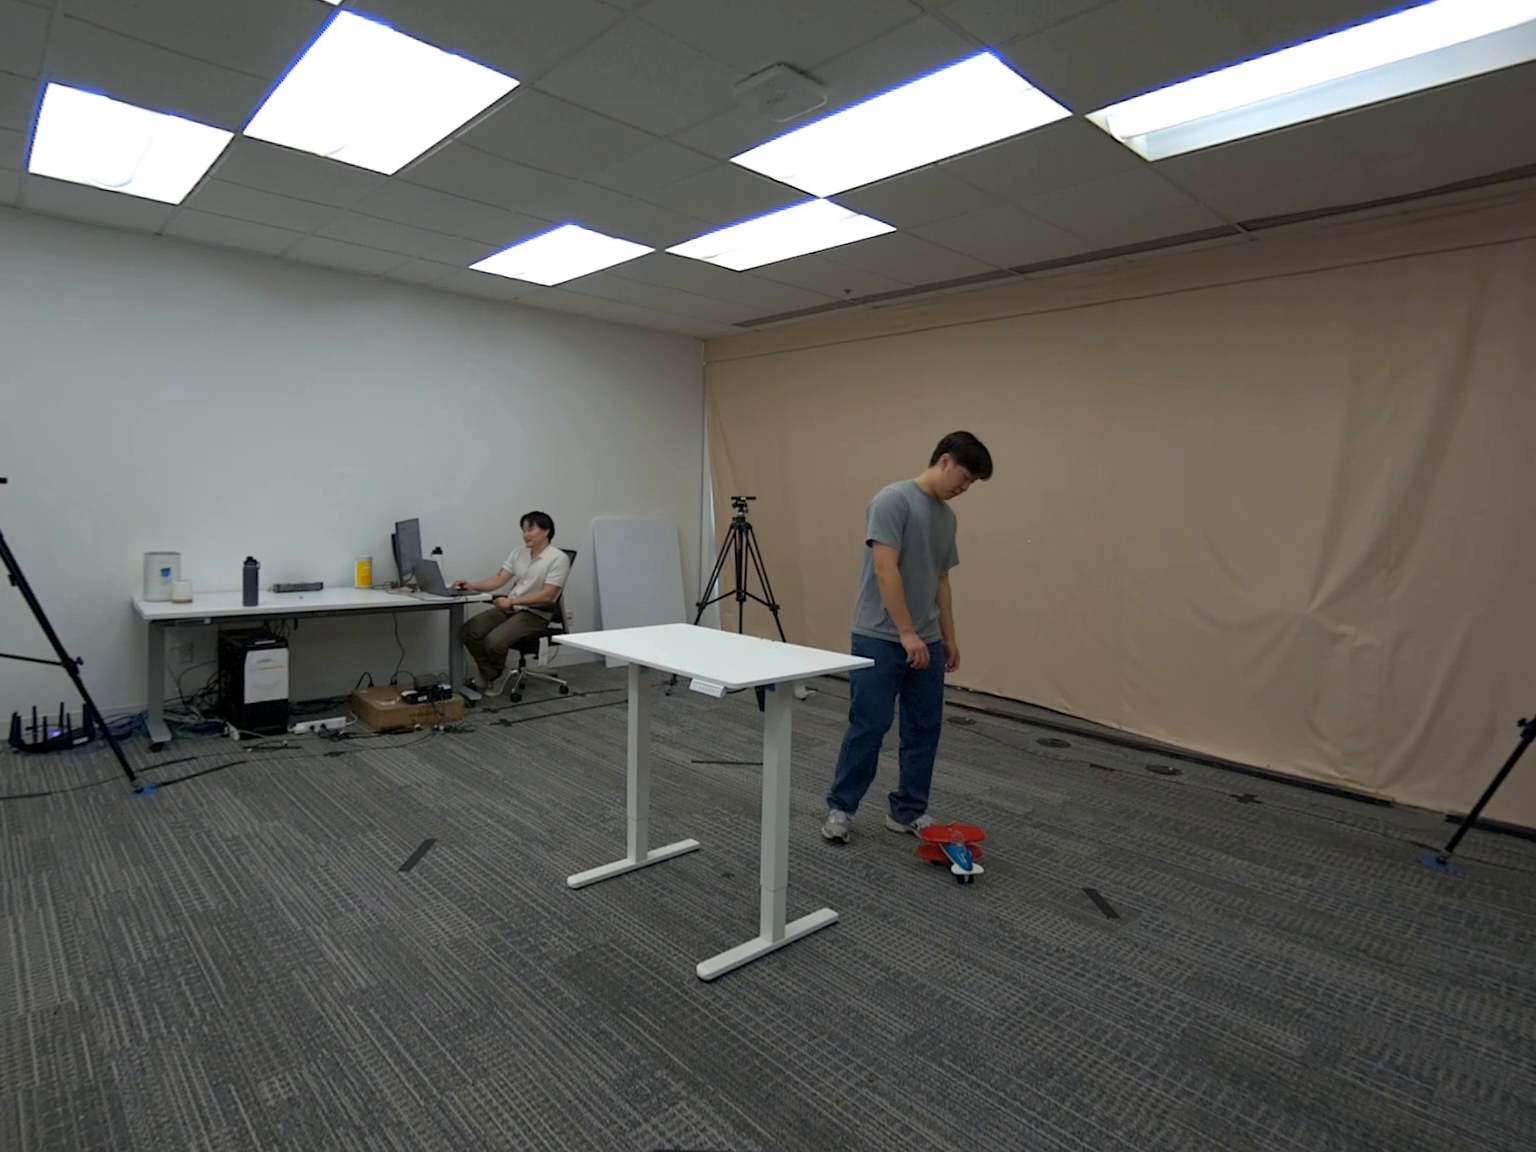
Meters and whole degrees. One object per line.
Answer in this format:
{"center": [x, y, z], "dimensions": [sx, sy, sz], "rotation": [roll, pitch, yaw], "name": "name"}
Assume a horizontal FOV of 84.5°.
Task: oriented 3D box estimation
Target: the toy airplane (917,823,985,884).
{"center": [0.713, 1.048, 3.189], "dimensions": [0.245, 0.156, 0.266], "rotation": [-2, 5, -40], "name": "toy airplane"}
